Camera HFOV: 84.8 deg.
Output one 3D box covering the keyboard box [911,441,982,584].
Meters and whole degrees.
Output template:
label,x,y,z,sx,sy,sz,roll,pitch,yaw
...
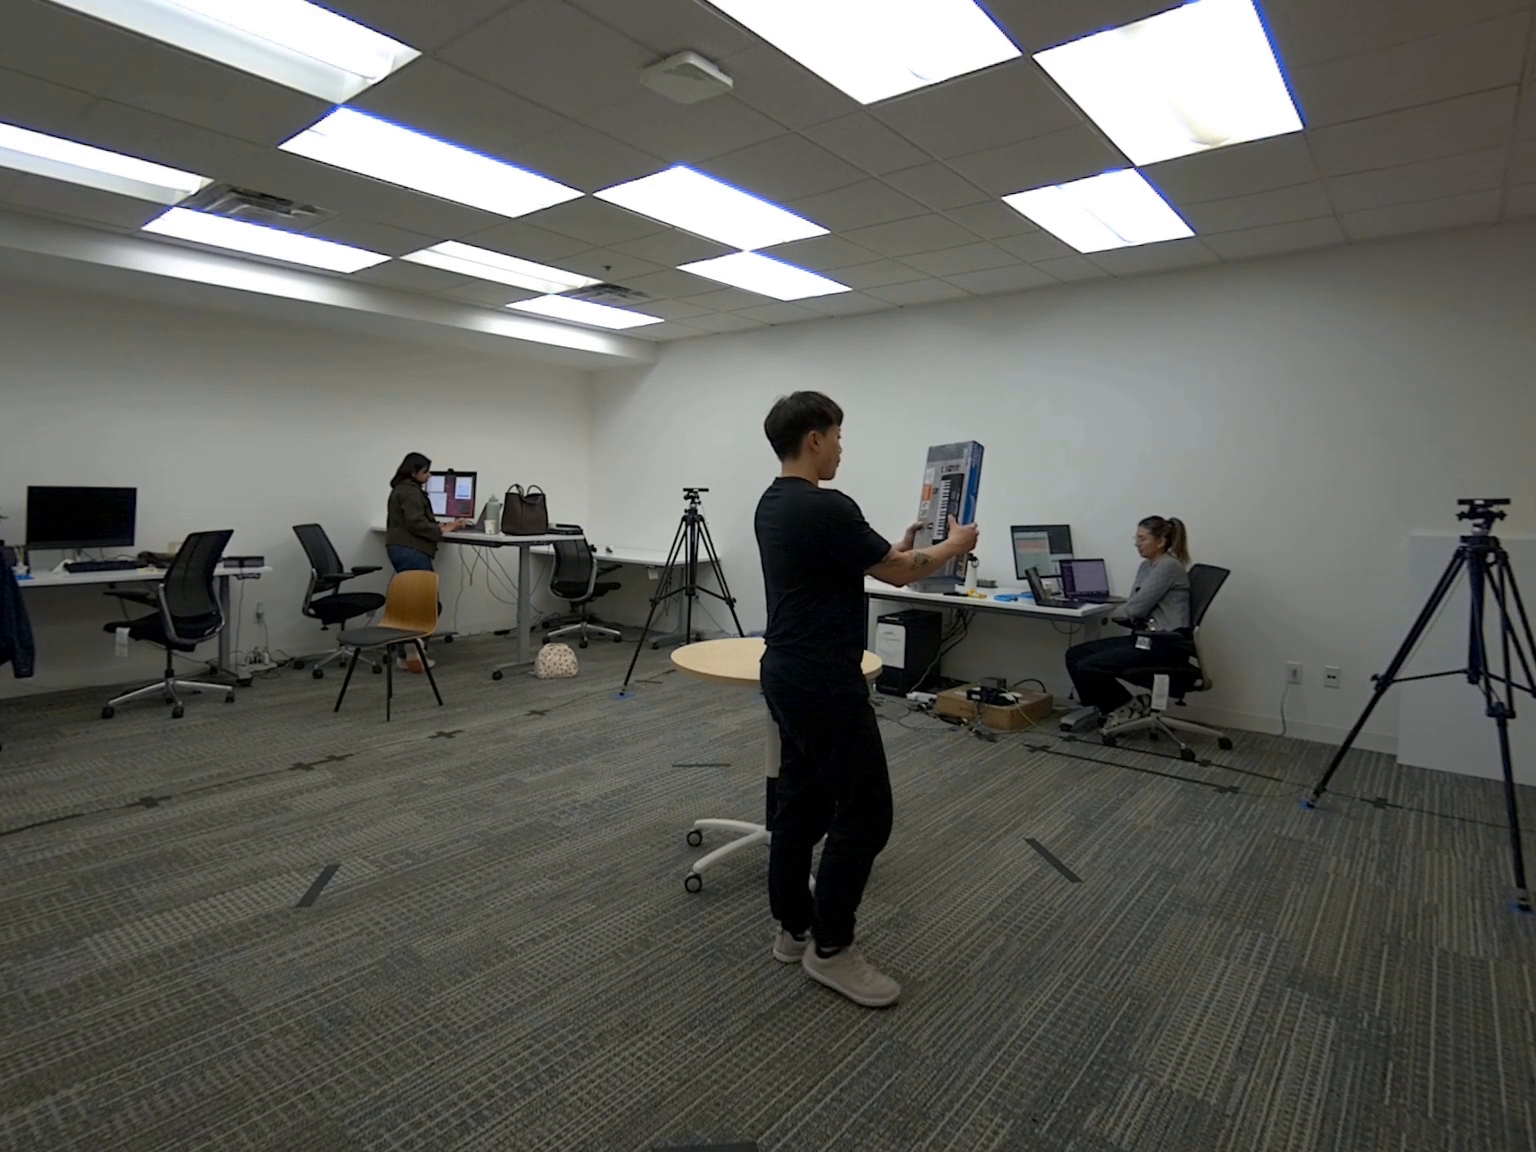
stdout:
label,x,y,z,sx,sy,sz,roll,pitch,yaw
keyboard box,0.548,-0.199,2.646,0.057,0.441,0.181,21,-15,-38
